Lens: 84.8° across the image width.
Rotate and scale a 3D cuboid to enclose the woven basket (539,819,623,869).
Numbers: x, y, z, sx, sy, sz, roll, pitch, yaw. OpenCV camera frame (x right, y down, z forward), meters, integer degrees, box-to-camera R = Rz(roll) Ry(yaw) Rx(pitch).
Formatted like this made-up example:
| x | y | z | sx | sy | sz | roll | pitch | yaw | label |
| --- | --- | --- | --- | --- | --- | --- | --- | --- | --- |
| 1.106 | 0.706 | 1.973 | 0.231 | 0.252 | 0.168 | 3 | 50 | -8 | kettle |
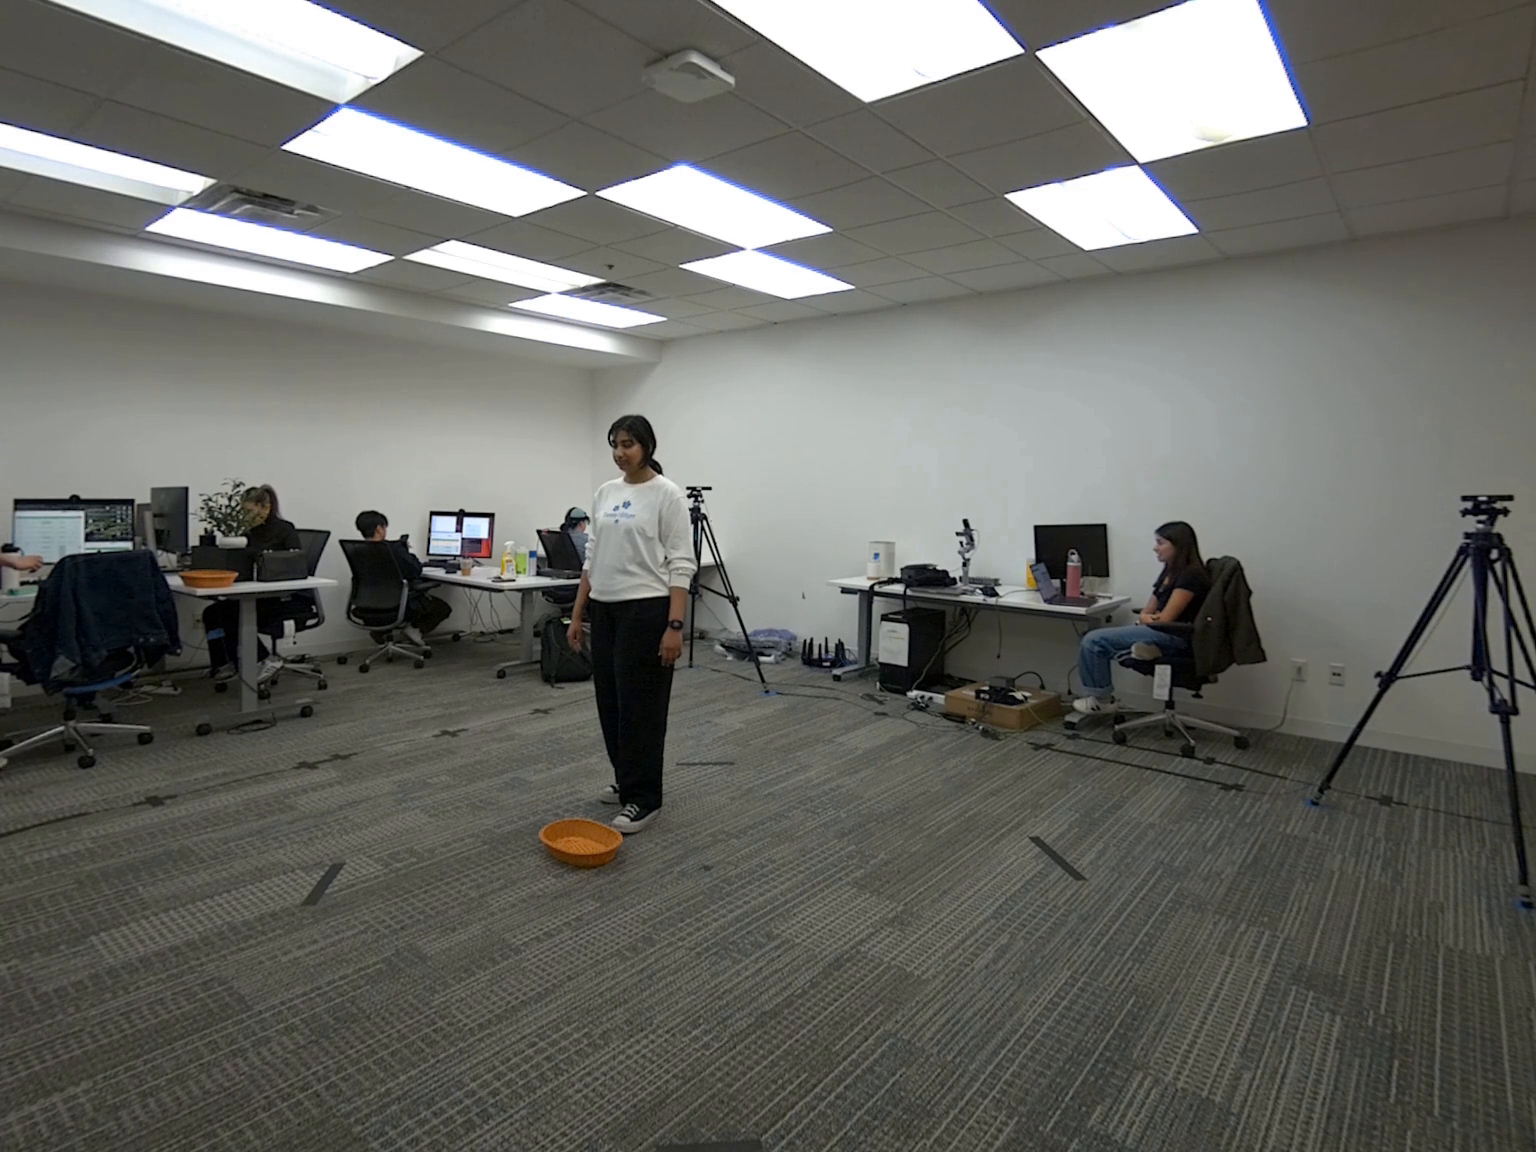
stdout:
| x | y | z | sx | sy | sz | roll | pitch | yaw | label |
| --- | --- | --- | --- | --- | --- | --- | --- | --- | --- |
| -0.713 | 1.006 | 3.216 | 0.362 | 0.073 | 0.245 | 6 | 9 | 41 | woven basket |
